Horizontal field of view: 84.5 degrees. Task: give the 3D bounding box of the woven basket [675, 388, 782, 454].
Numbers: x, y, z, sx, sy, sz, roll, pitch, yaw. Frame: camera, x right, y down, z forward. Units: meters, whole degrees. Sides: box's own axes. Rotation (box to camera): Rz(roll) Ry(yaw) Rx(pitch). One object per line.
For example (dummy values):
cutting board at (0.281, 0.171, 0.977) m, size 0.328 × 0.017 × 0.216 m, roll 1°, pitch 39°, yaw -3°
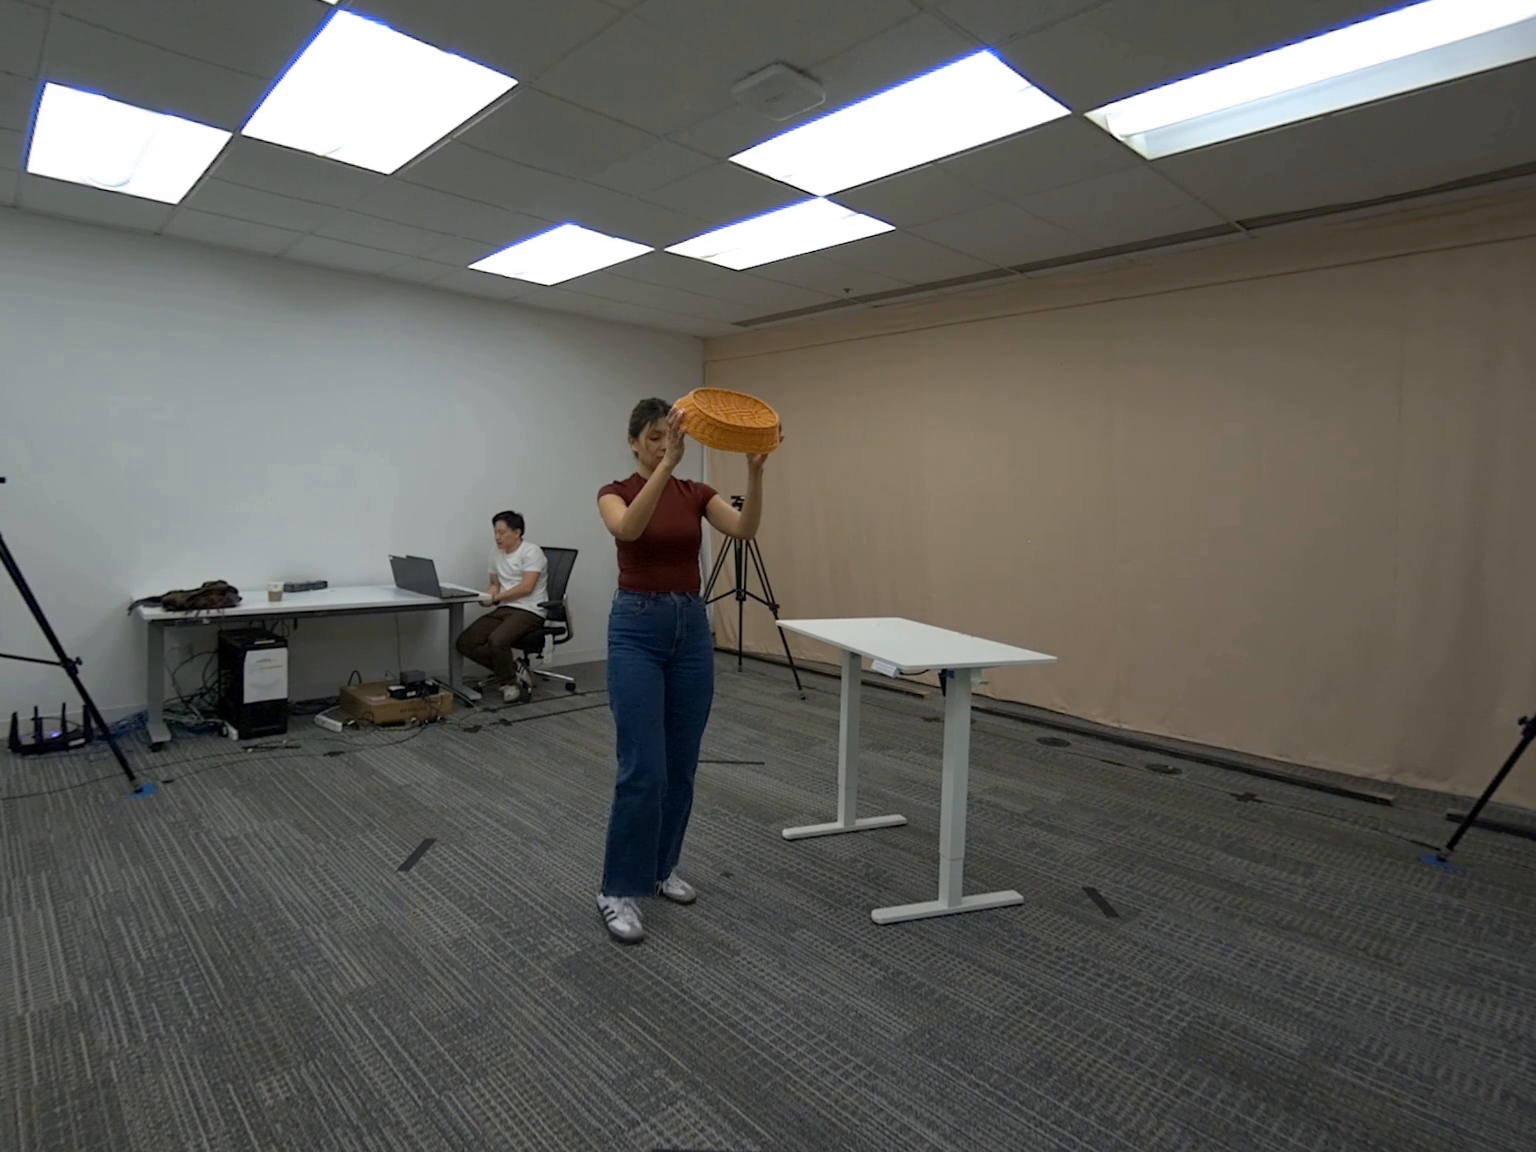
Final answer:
woven basket at (-0.112, -0.462, 2.448) m, size 0.343 × 0.073 × 0.260 m, roll -2°, pitch 46°, yaw -37°
